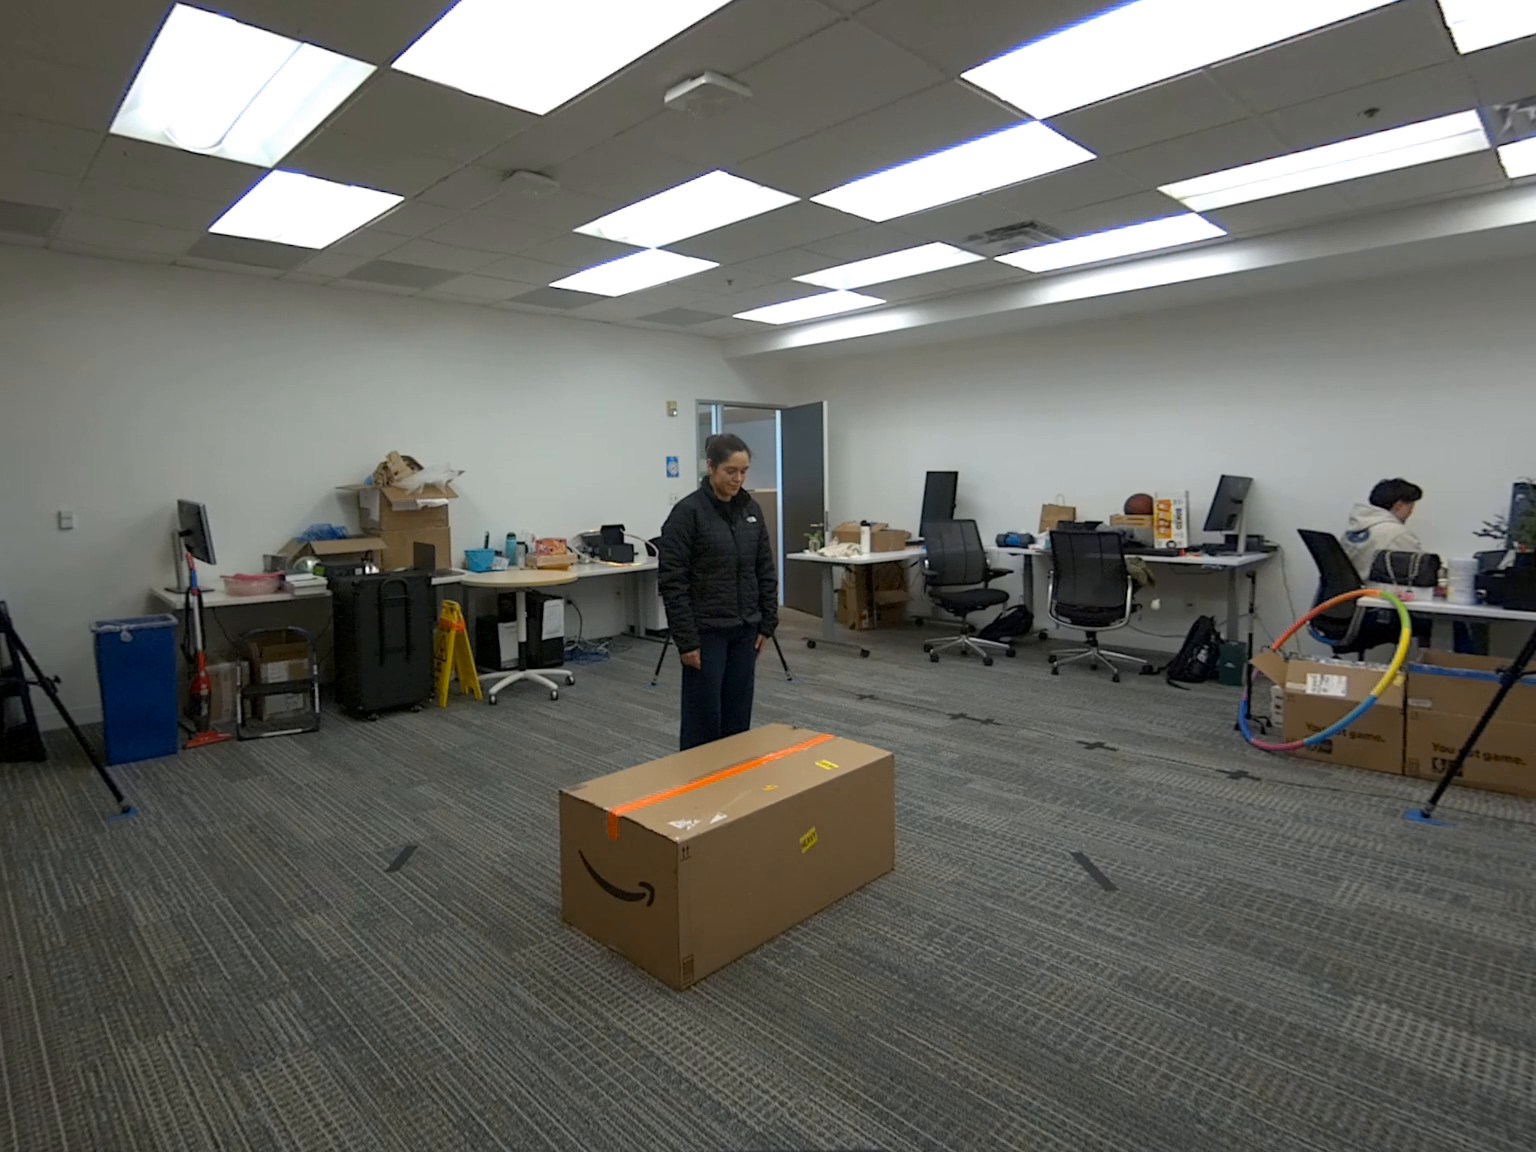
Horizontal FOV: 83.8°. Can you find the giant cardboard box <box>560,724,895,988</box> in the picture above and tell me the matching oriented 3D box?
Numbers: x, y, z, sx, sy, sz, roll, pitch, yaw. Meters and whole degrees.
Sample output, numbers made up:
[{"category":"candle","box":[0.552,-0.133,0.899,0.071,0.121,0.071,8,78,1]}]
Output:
[{"category":"giant cardboard box","box":[-0.107,0.863,2.887,0.601,0.445,1.001,3,8,44]}]
